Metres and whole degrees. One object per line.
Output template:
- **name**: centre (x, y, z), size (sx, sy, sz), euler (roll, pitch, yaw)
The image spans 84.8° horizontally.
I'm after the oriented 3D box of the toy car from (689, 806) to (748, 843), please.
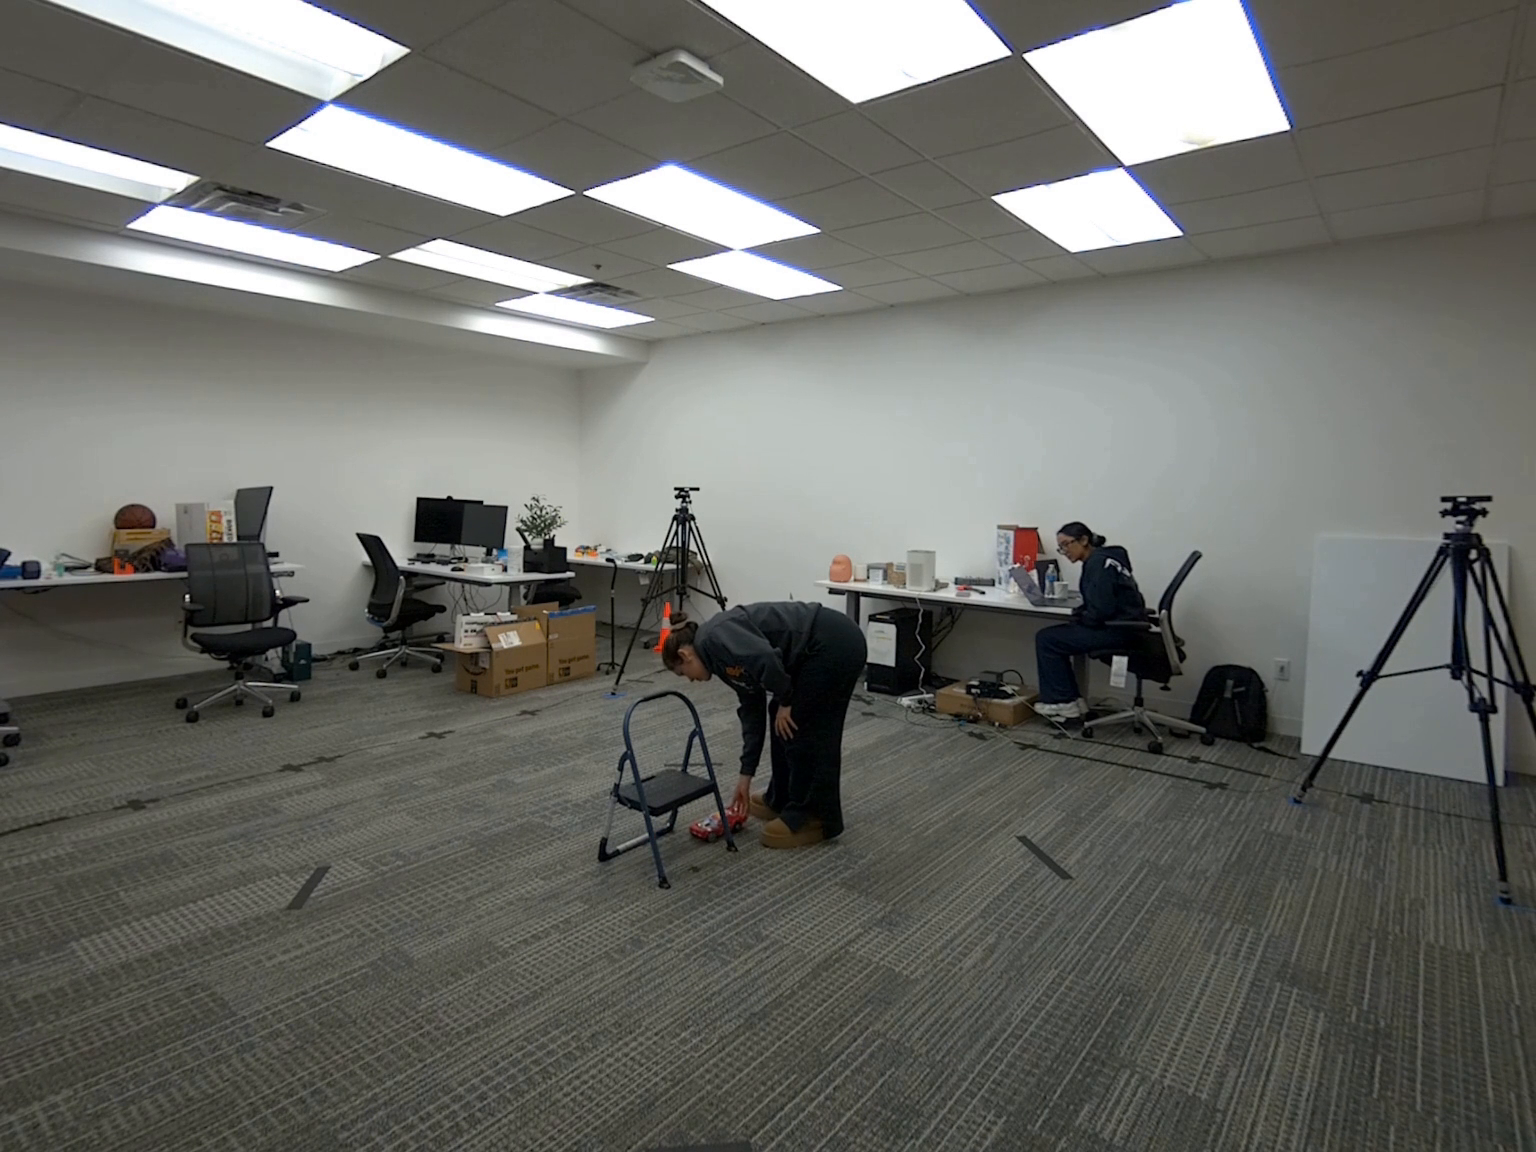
- **toy car**: centre (-0.202, 1.002, 3.442), size (0.249, 0.082, 0.135), euler (-18, 15, -42)
